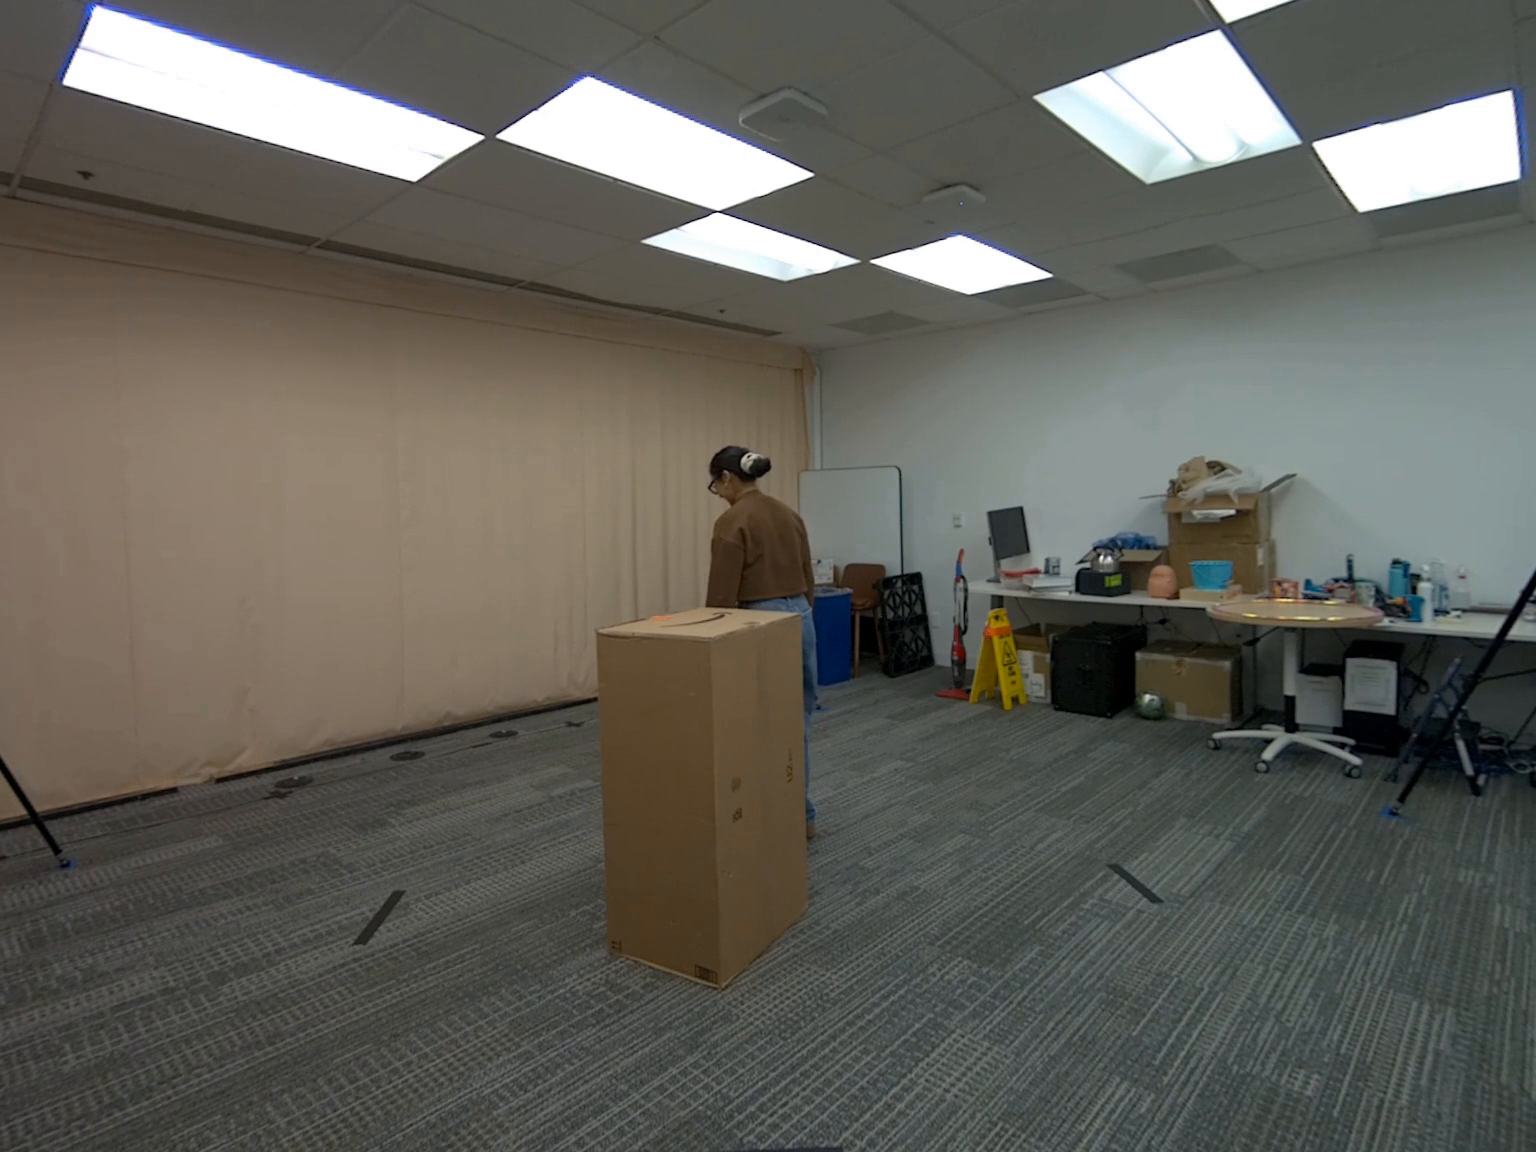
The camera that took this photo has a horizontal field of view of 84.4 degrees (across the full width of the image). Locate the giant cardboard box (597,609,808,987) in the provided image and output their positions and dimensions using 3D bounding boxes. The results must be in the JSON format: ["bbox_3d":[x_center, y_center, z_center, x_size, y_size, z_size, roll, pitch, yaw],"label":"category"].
[{"bbox_3d":[-0.198,0.658,2.740,0.460,1.024,0.569,1,4,30],"label":"giant cardboard box"}]
